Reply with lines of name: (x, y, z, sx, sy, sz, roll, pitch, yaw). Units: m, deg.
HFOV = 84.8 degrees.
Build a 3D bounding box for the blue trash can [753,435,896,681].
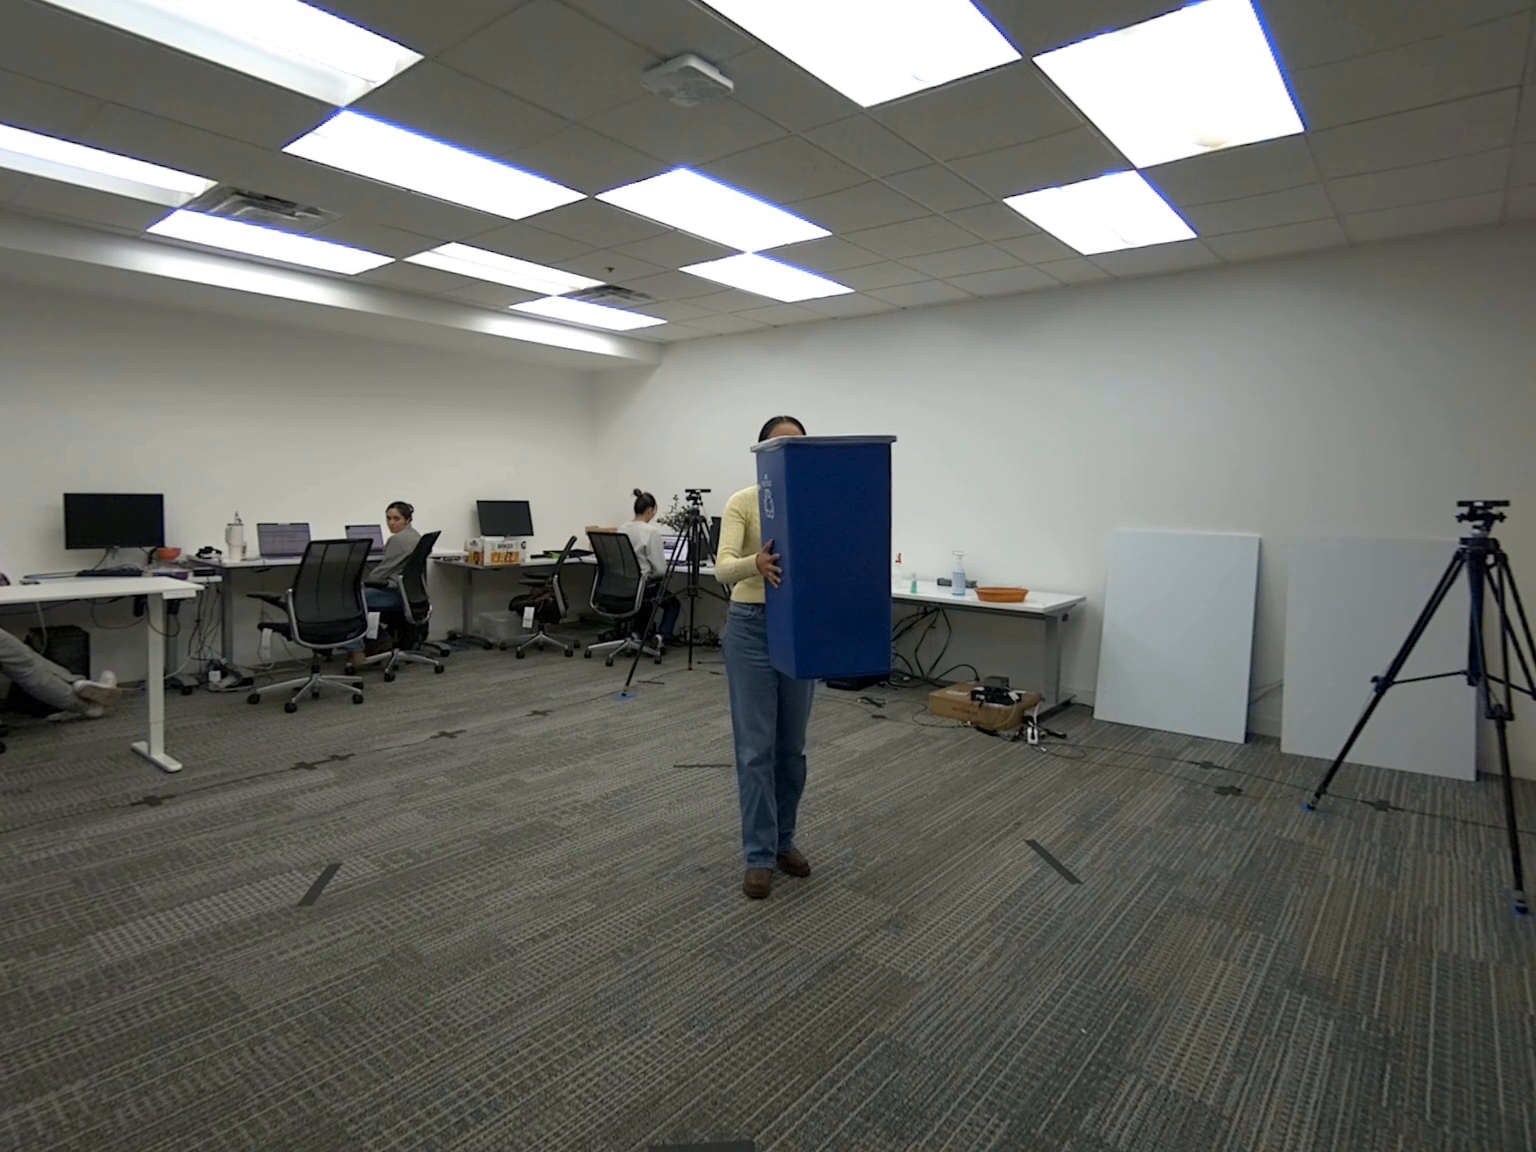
blue trash can: (0.168, -0.076, 2.642, 0.373, 0.713, 0.379, -3, 1, -13)
